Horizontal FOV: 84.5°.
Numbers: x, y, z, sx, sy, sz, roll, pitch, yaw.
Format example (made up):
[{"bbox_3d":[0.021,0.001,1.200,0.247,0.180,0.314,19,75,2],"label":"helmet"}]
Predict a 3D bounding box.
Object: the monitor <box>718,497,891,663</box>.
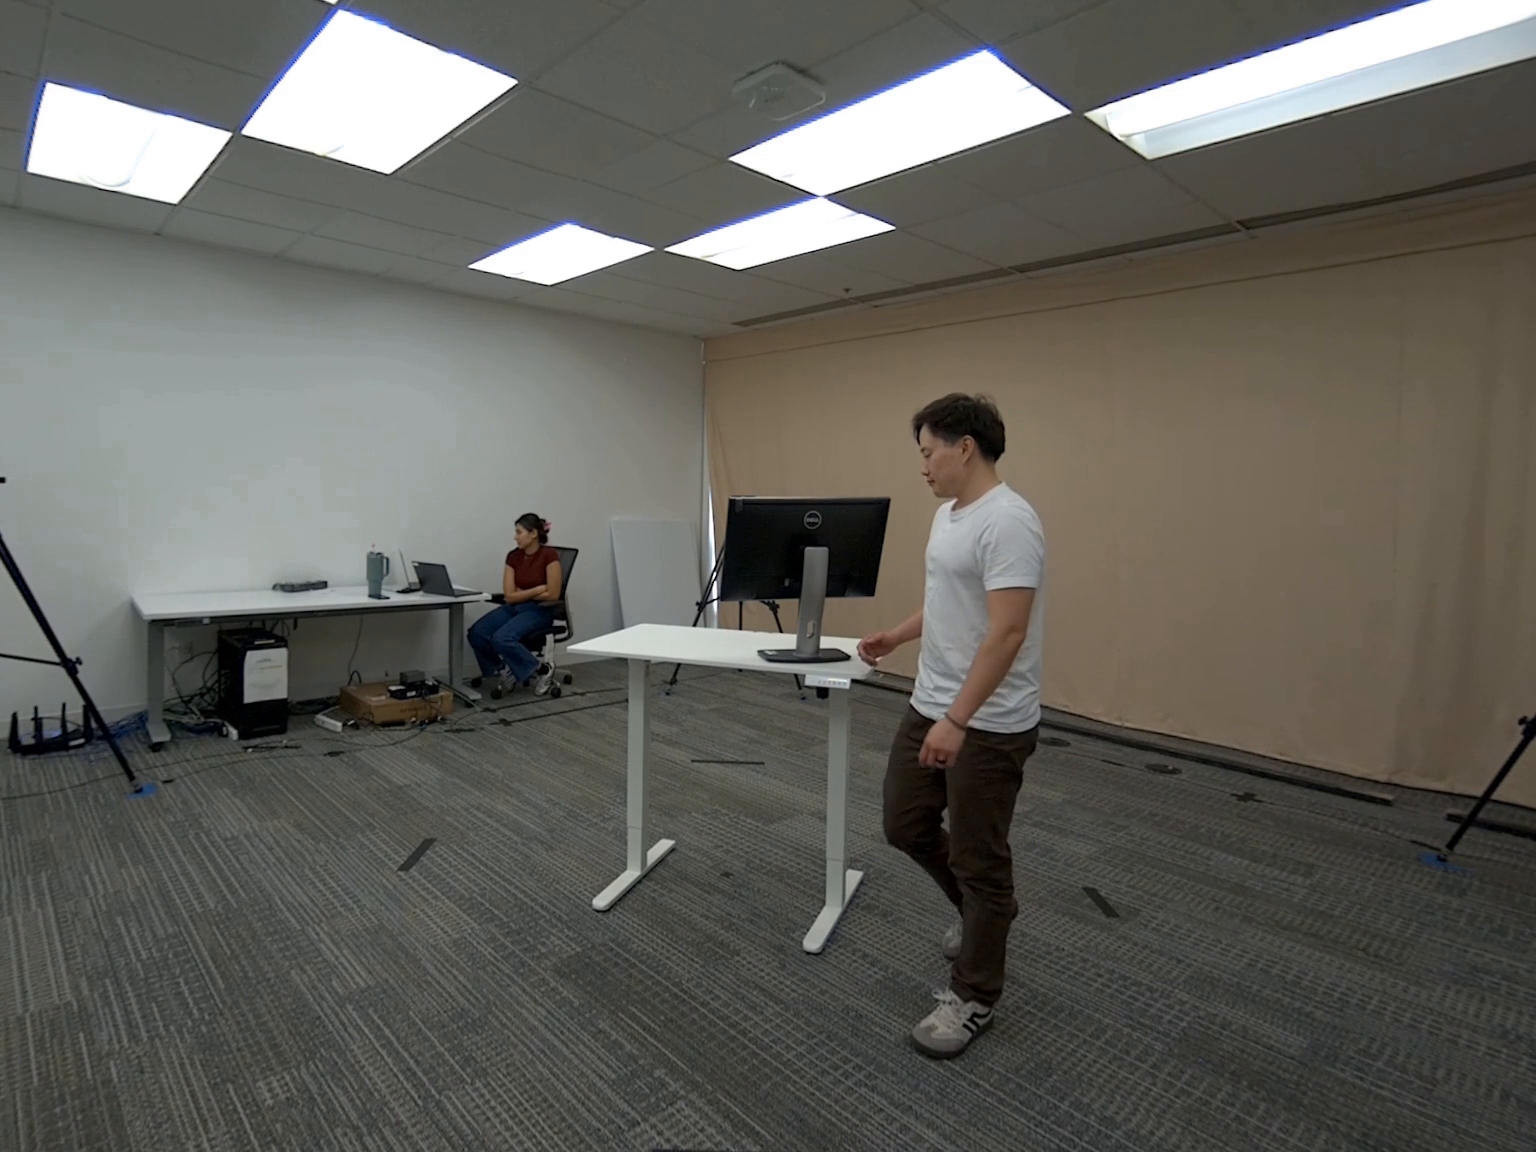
[{"bbox_3d":[0.120,0.011,2.670,0.532,0.520,0.190,-1,7,-18],"label":"monitor"}]
